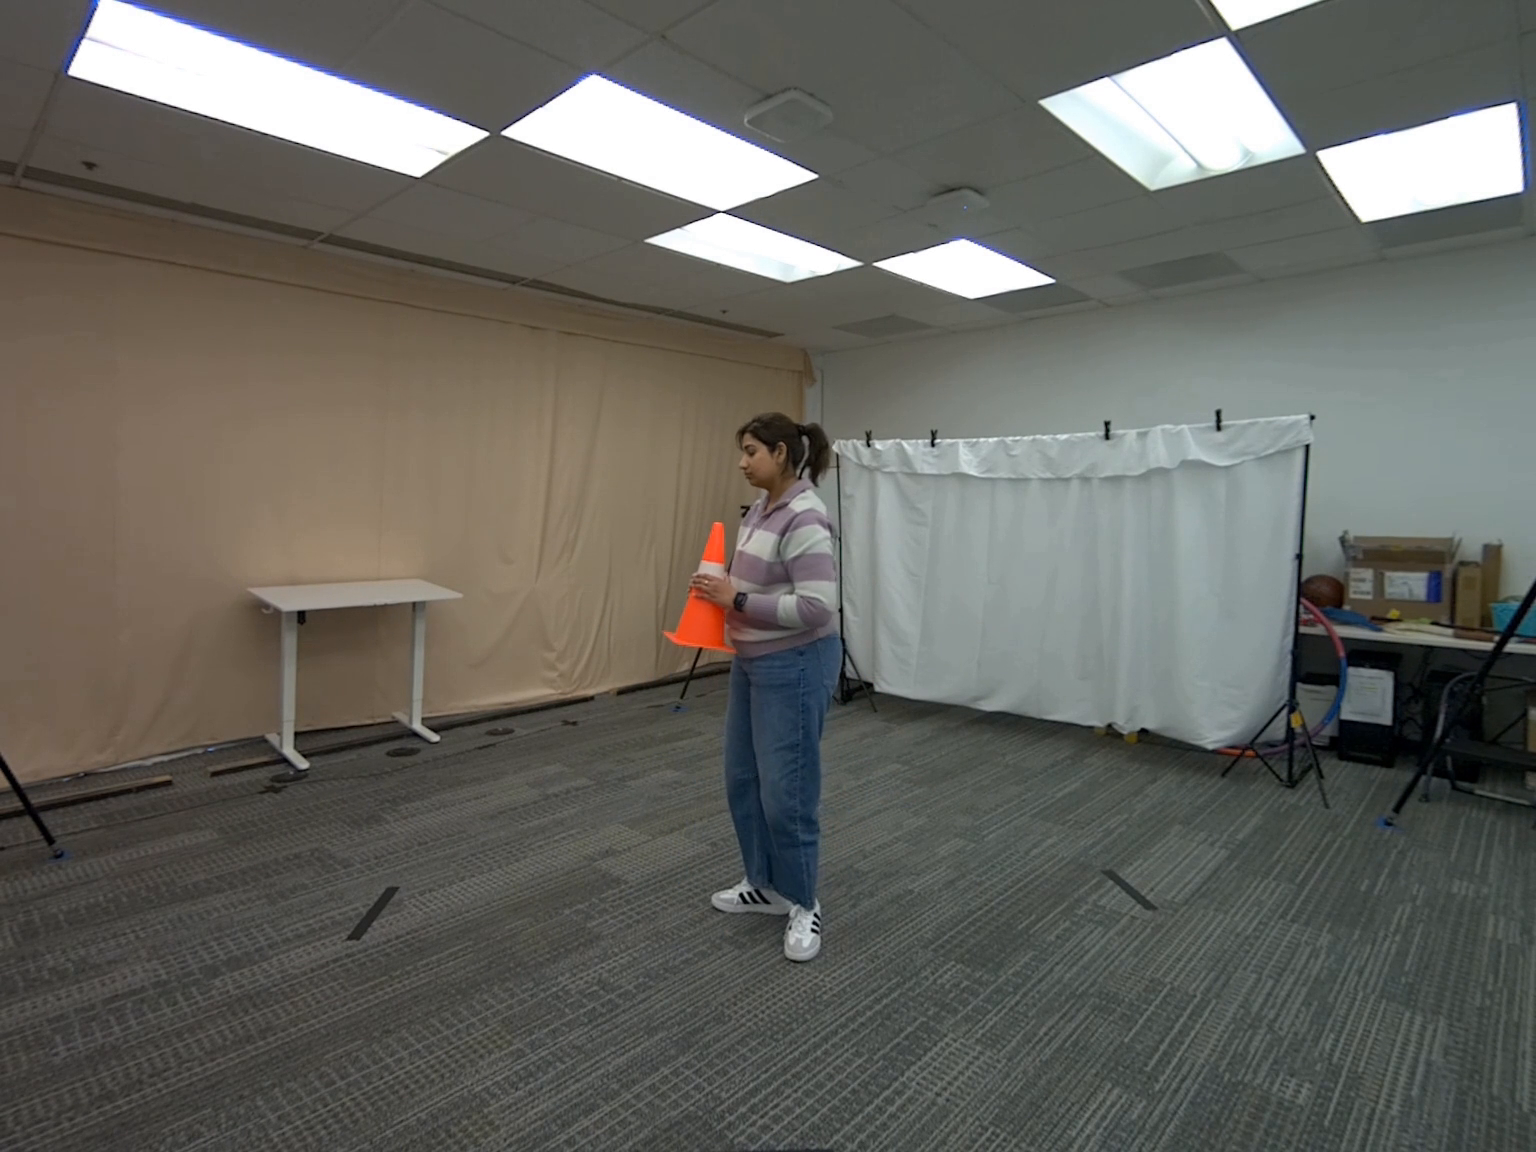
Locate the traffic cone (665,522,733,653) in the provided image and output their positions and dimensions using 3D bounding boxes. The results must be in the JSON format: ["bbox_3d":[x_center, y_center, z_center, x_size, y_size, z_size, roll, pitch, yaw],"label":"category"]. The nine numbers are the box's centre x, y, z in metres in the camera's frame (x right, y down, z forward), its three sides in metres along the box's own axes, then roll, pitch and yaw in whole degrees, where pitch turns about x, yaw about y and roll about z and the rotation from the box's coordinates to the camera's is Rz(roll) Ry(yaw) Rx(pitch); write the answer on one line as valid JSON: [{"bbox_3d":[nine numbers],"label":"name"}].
[{"bbox_3d":[-0.179,0.027,2.650,0.198,0.384,0.210,9,-1,-23],"label":"traffic cone"}]
